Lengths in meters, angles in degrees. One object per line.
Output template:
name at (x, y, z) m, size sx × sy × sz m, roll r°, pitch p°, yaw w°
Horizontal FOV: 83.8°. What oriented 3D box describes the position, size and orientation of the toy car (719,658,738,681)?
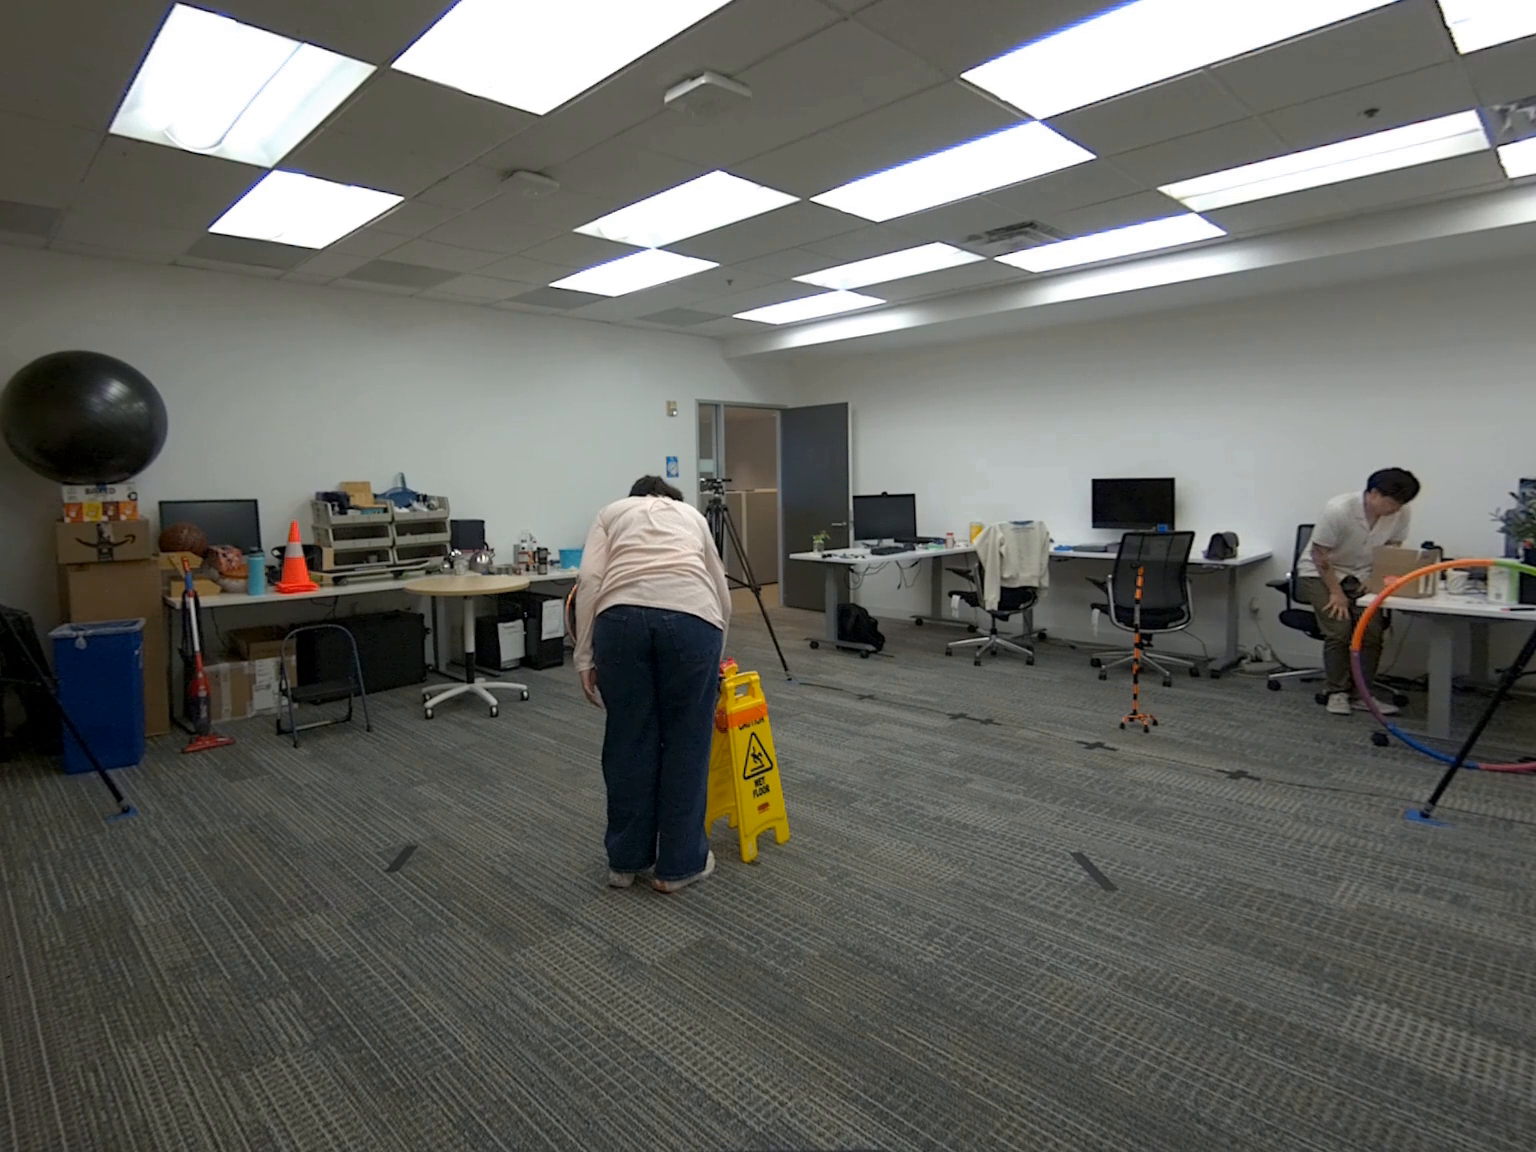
toy car at (-0.147, 0.446, 3.278) m, size 0.086 × 0.252 × 0.128 m, roll 8°, pitch 14°, yaw 34°
